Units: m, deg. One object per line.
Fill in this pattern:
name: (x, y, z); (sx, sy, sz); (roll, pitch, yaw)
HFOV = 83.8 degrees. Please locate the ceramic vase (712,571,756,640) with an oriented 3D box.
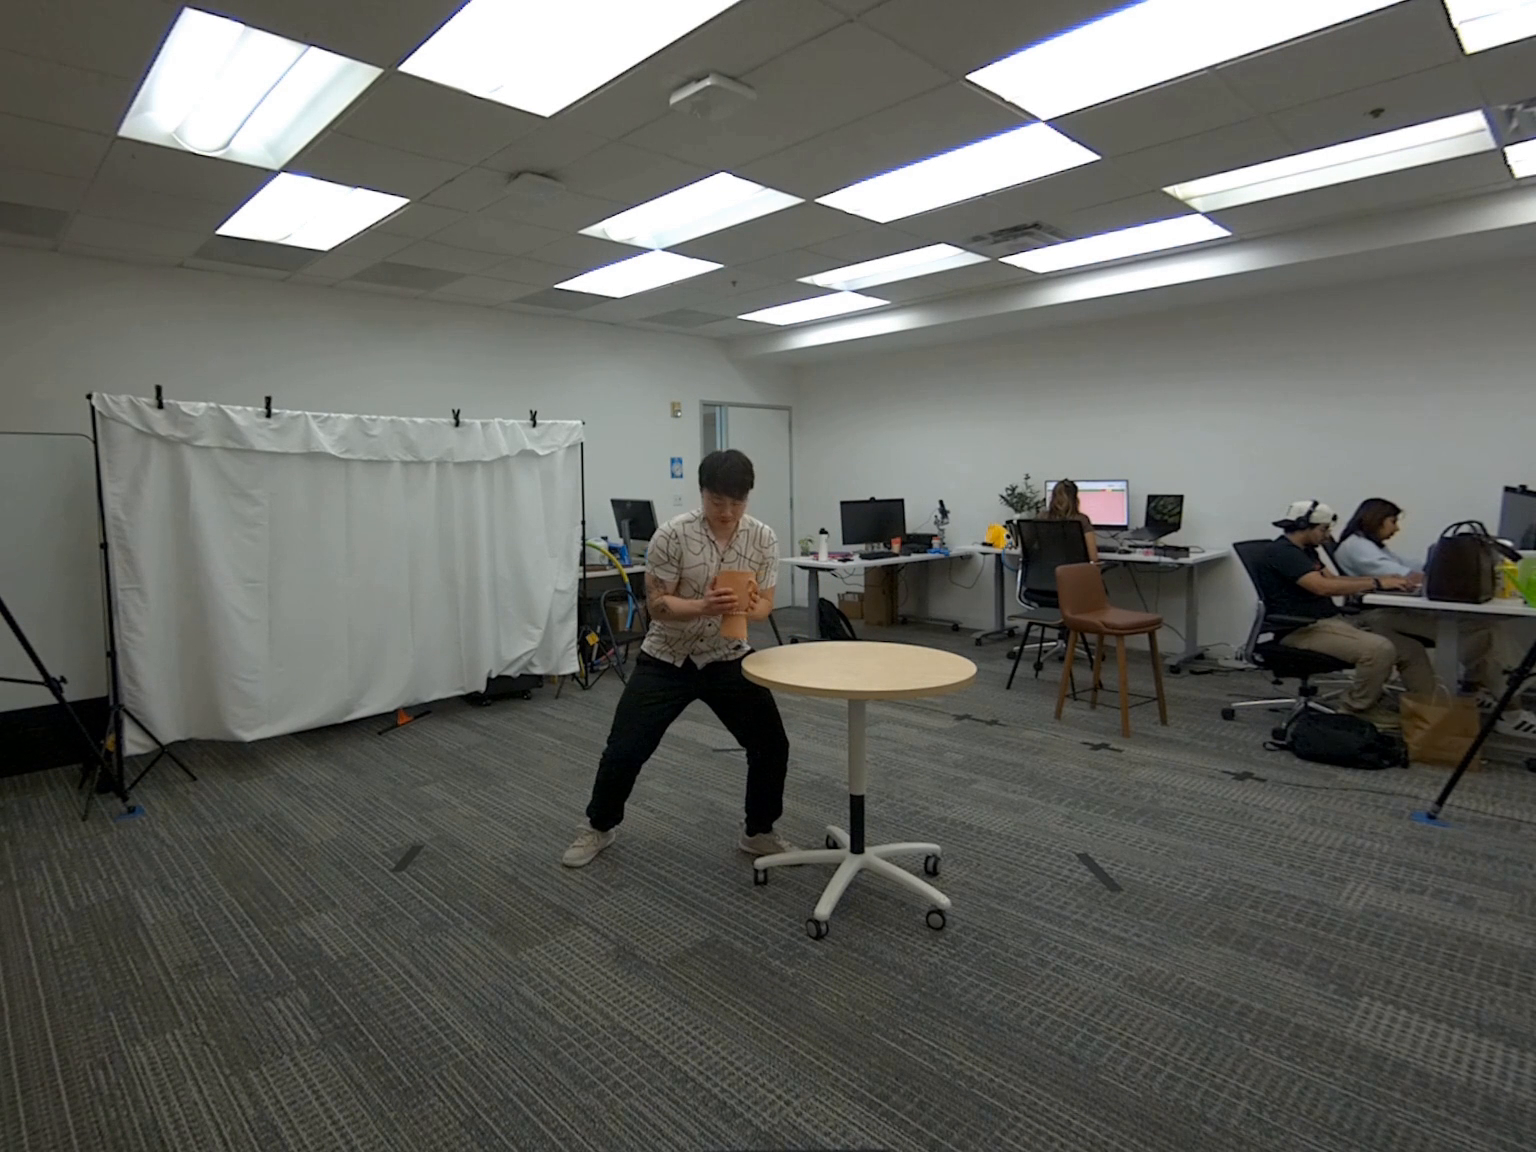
ceramic vase: (-0.111, 0.101, 2.869); (0.134, 0.220, 0.159); (3, -2, -7)
